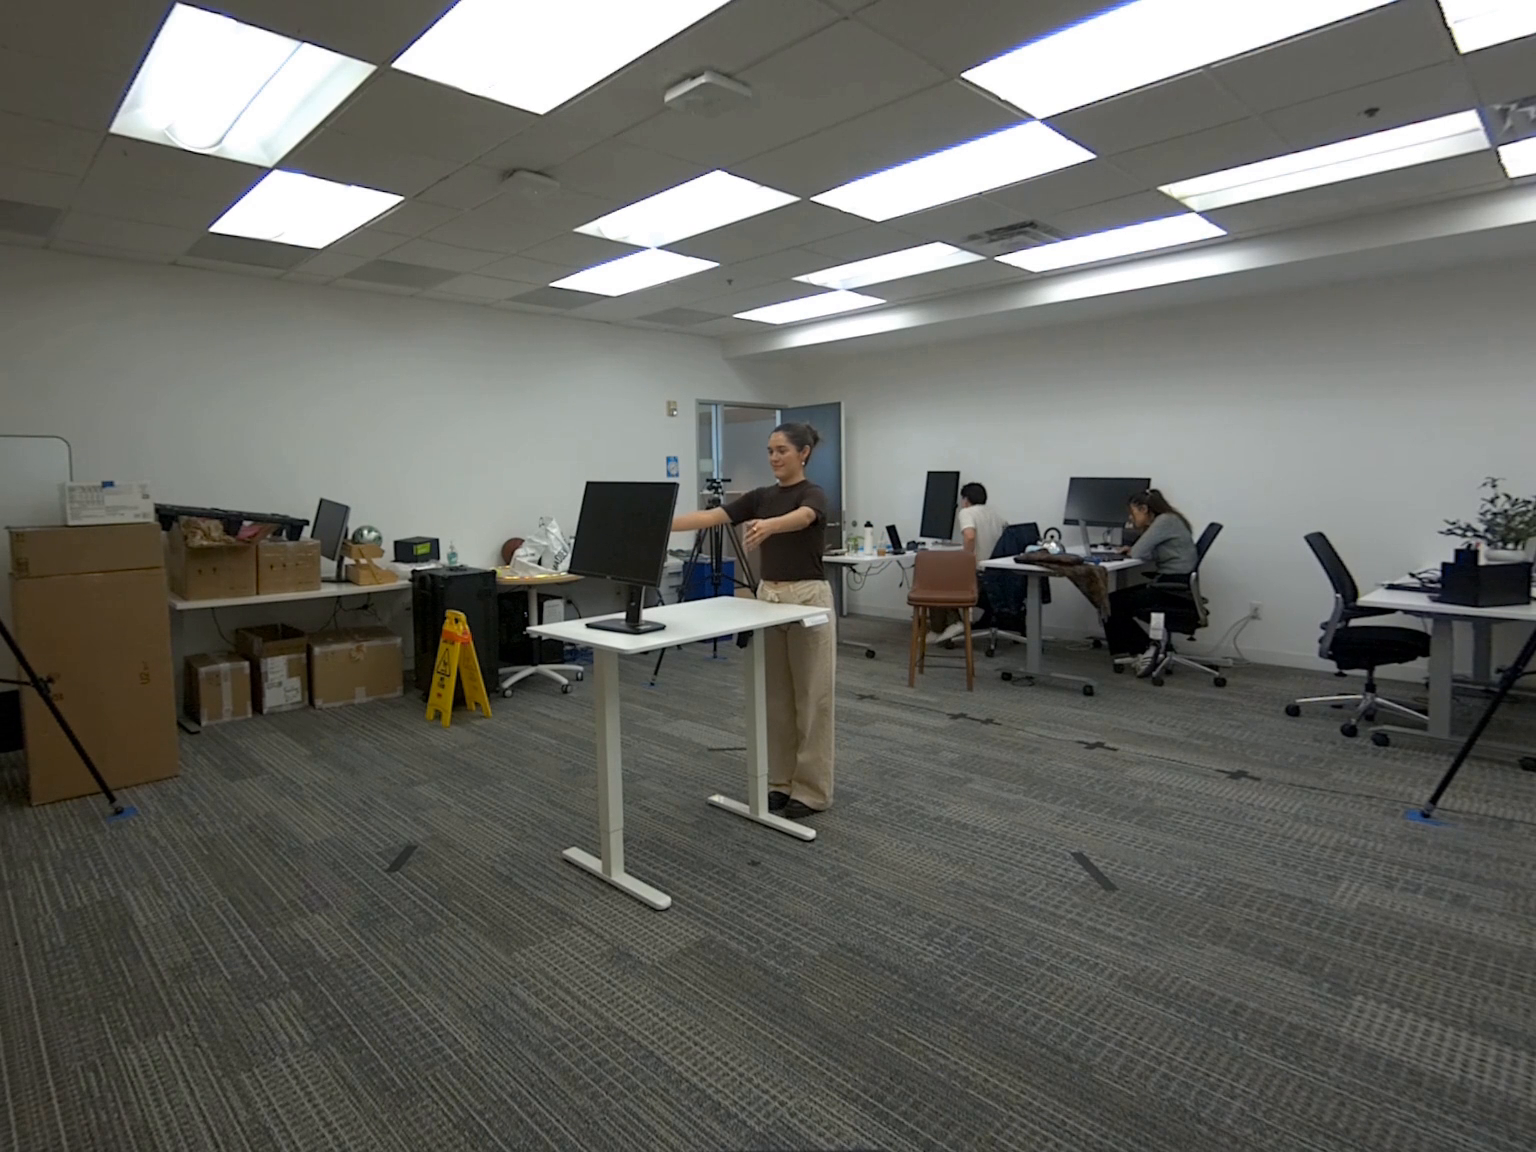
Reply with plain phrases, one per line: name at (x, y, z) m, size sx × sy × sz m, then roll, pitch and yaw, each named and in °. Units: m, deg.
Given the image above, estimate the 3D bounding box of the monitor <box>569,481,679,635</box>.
monitor at (-0.496, -0.068, 3.002) m, size 0.556 × 0.521 × 0.182 m, roll 5°, pitch 4°, yaw 44°
